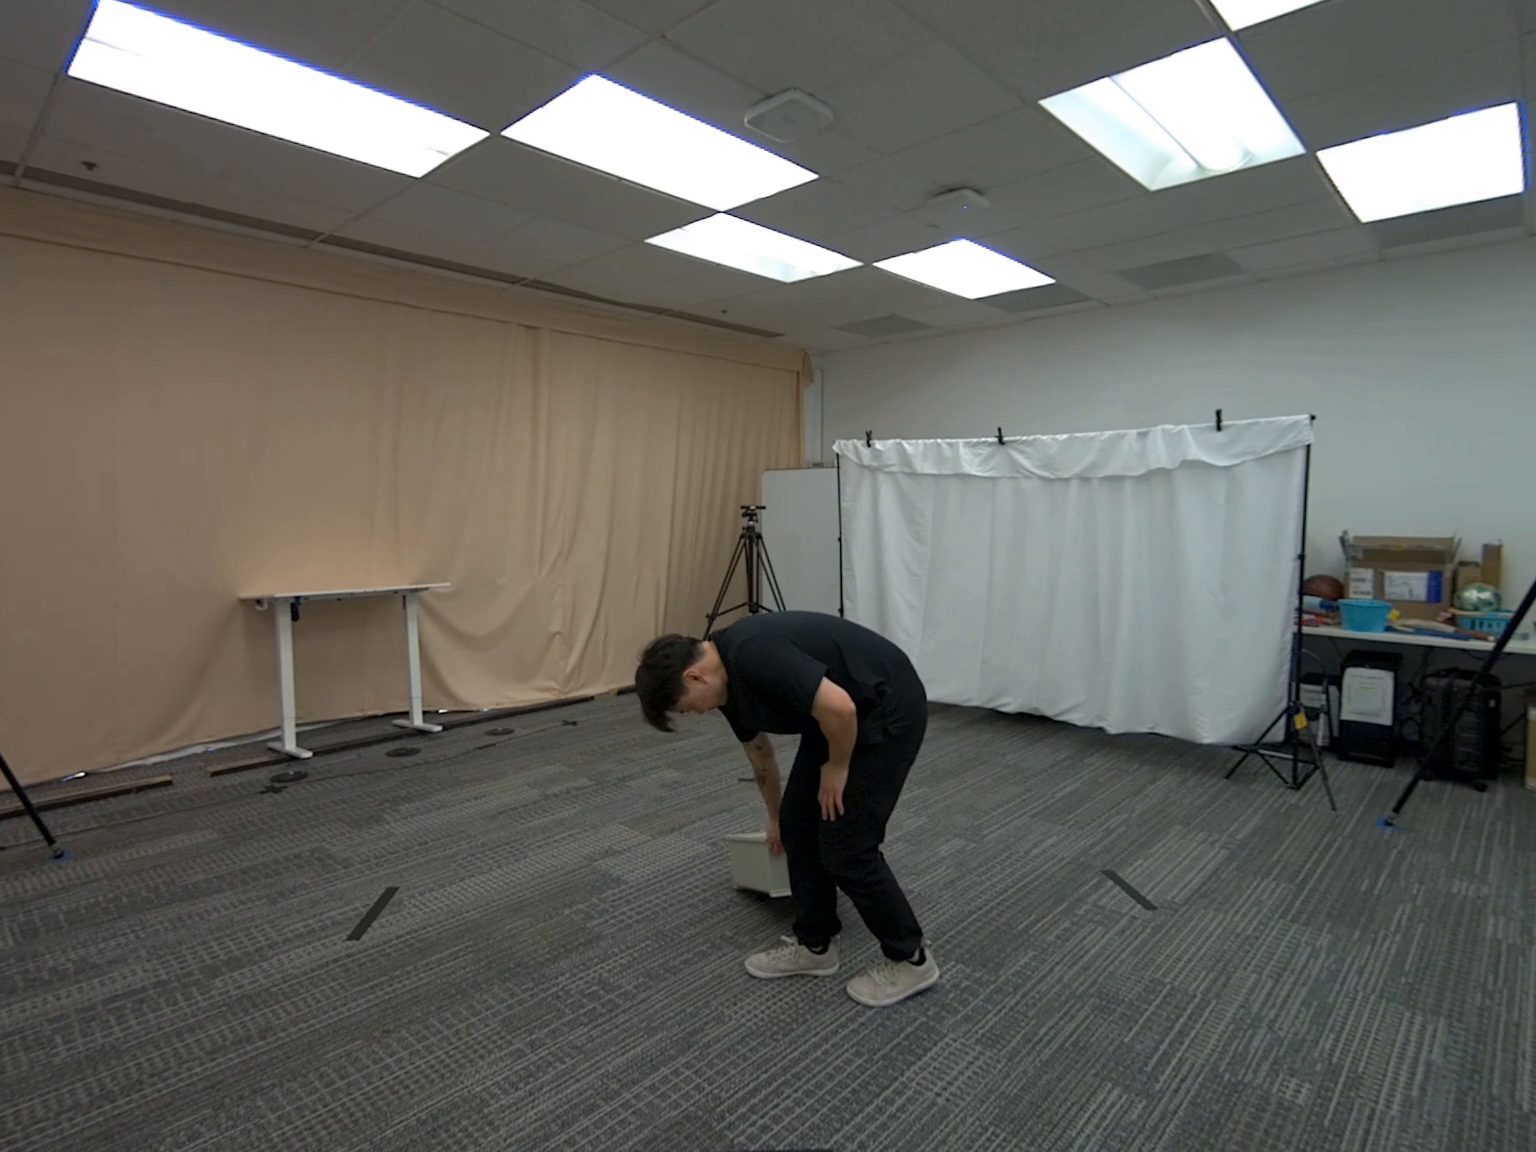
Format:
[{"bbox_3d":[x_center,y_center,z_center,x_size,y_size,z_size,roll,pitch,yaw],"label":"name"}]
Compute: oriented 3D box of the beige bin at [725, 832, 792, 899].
[{"bbox_3d":[0.100,0.988,2.943,0.370,0.191,0.426,-1,-14,-20],"label":"beige bin"}]
